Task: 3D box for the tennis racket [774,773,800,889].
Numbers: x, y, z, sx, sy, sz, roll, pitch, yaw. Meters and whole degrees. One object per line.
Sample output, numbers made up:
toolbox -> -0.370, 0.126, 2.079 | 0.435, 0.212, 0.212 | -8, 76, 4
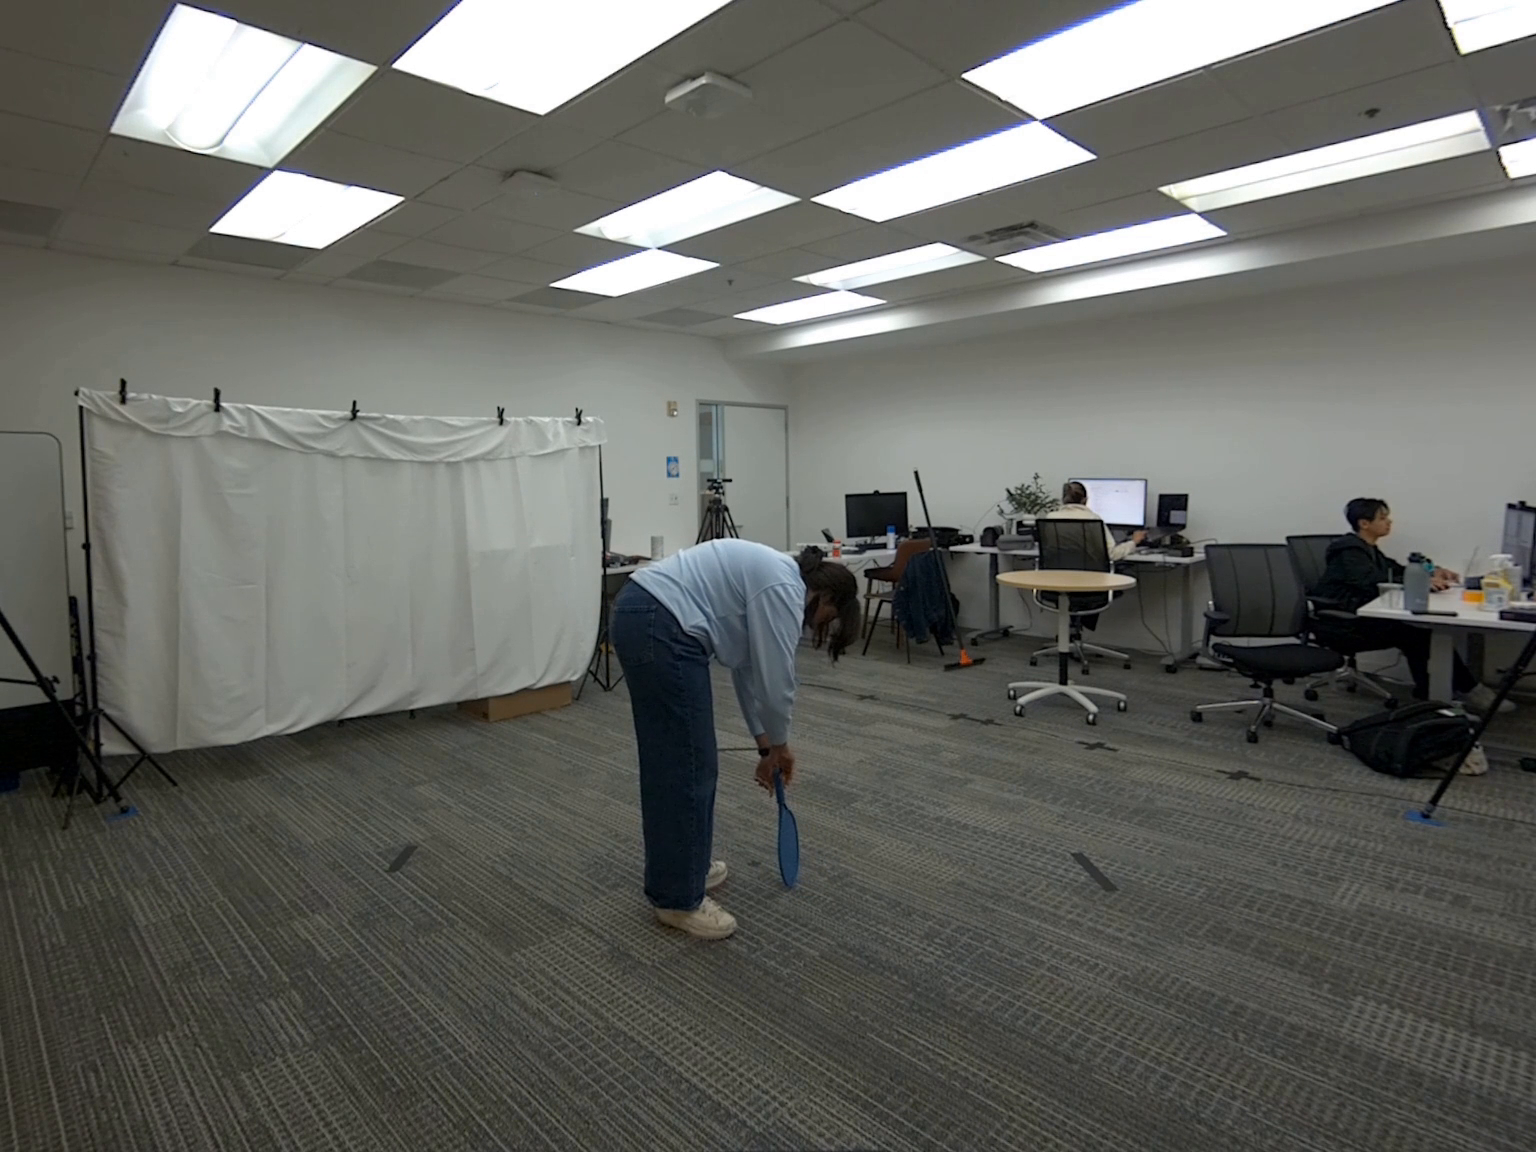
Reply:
tennis racket -> 0.052, 0.859, 2.909 | 0.032, 0.426, 0.214 | -4, 17, 16
